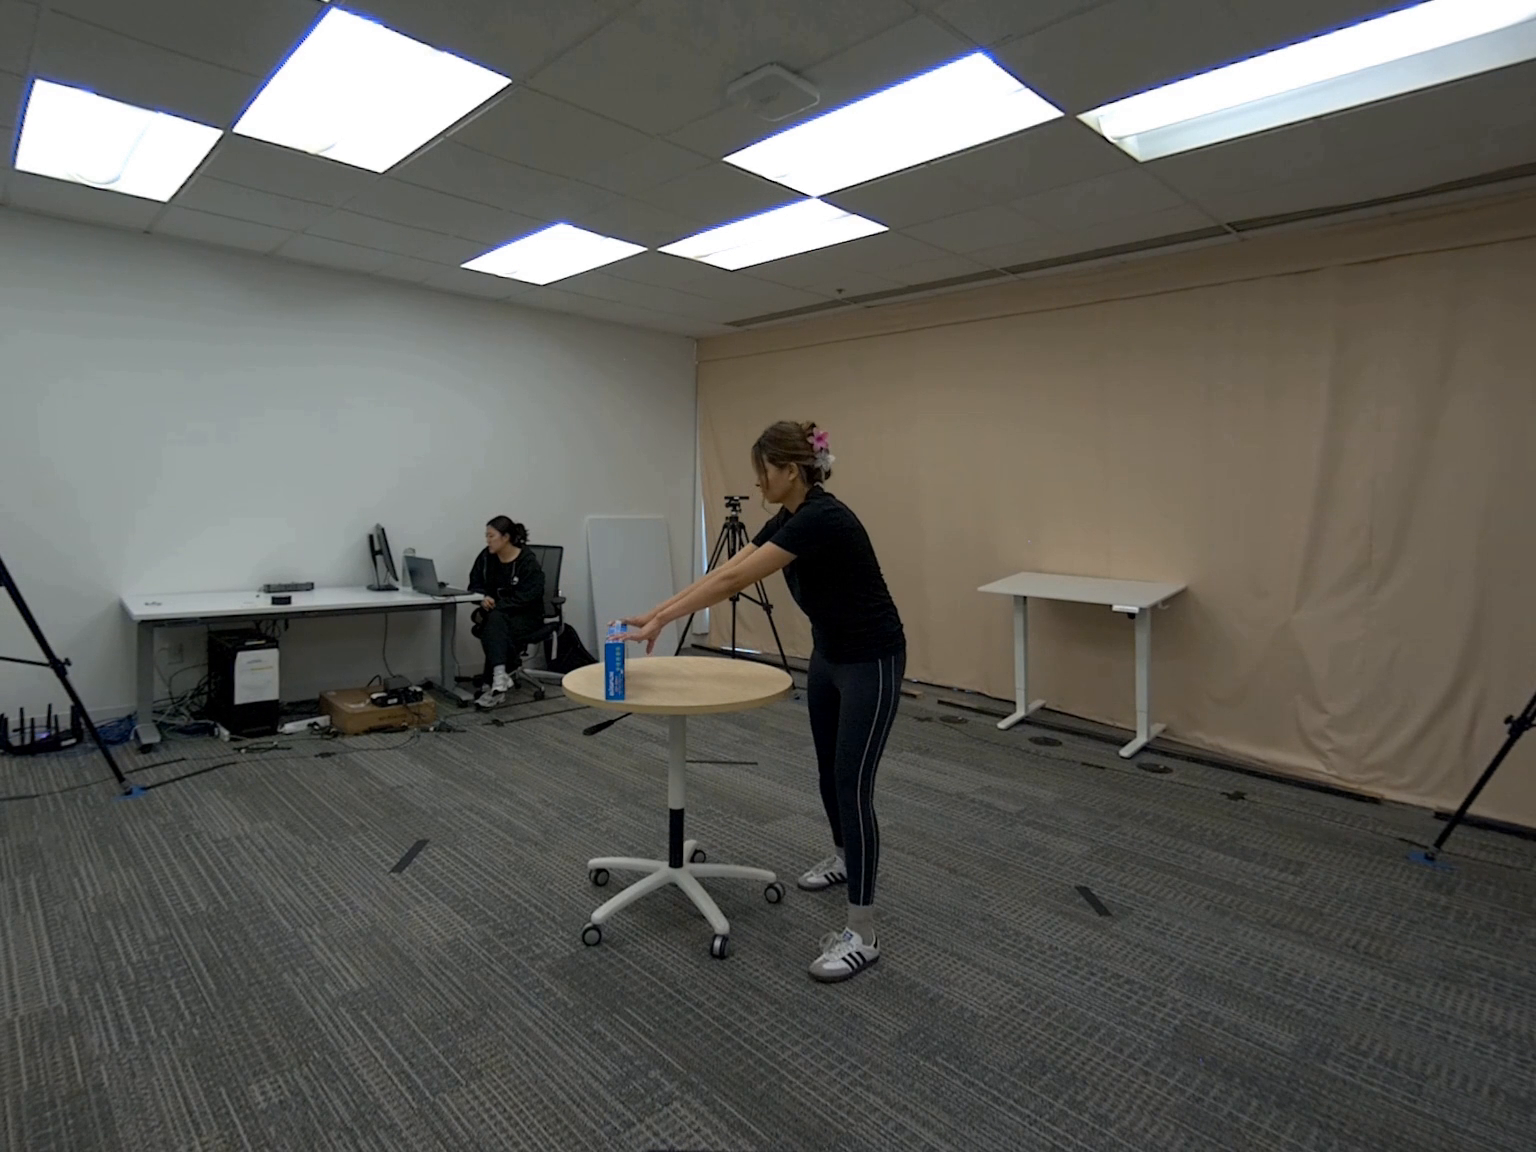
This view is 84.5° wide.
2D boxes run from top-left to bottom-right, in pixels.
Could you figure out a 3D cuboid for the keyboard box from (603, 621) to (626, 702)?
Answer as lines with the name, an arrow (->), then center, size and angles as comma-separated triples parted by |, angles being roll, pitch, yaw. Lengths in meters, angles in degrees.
keyboard box -> -0.485, 0.260, 2.707 | 0.059, 0.175, 0.441 | 0, 5, -10
